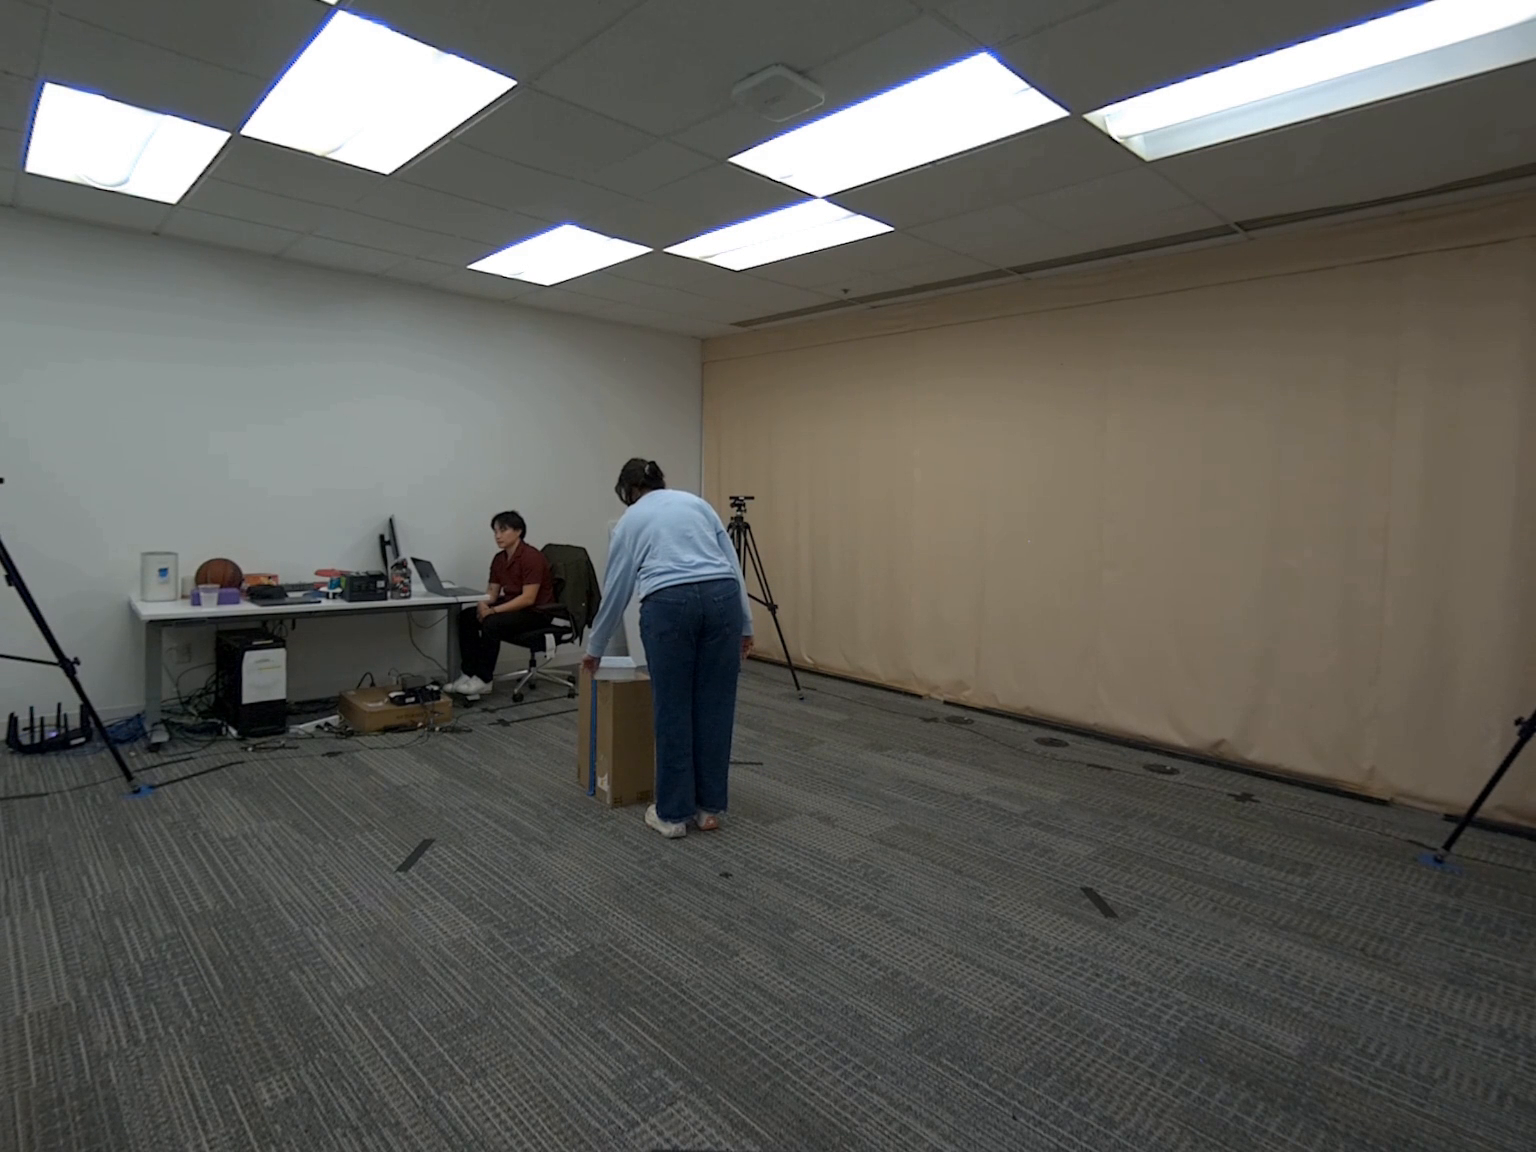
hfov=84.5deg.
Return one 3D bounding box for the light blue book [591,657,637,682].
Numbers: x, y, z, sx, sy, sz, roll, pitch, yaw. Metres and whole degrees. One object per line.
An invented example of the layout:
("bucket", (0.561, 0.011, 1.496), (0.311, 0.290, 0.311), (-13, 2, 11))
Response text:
("light blue book", (-0.721, 0.427, 3.908), (0.189, 0.059, 0.264), (1, 4, -13))
